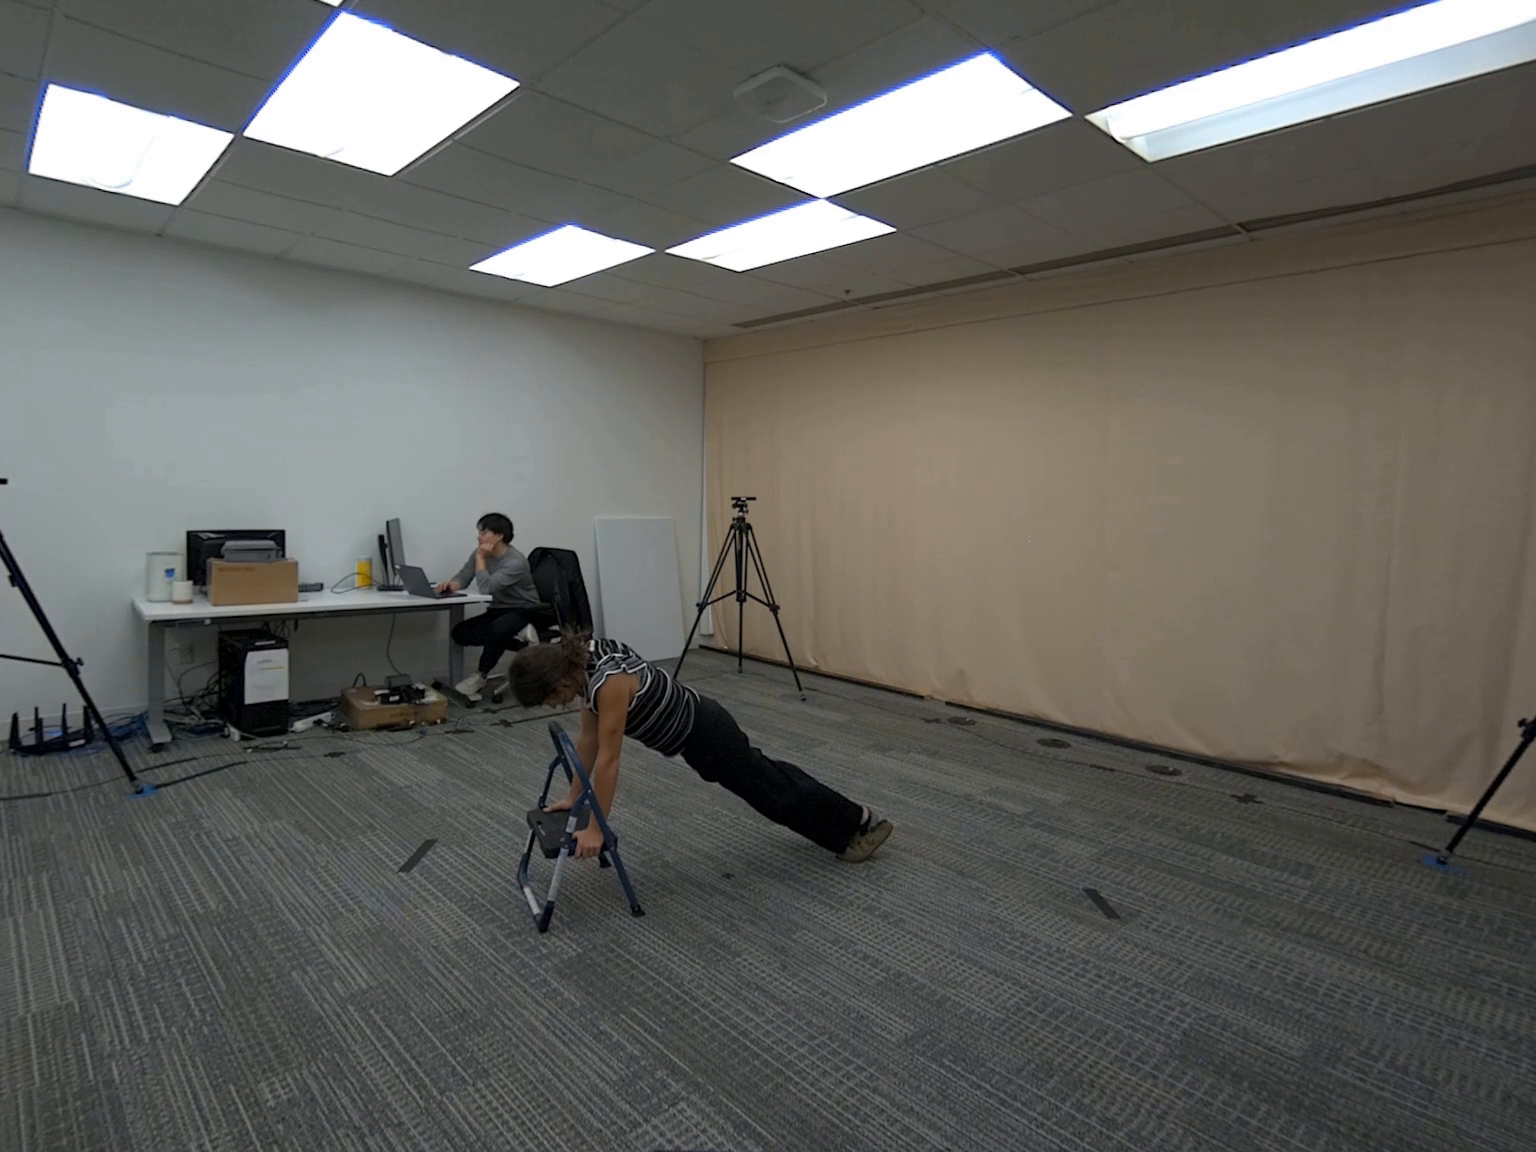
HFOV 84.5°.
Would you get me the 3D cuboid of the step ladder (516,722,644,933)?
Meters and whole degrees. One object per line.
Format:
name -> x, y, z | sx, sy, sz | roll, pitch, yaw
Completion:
step ladder -> -0.662, 0.814, 2.900 | 0.343, 0.604, 0.440 | -1, 4, -27
